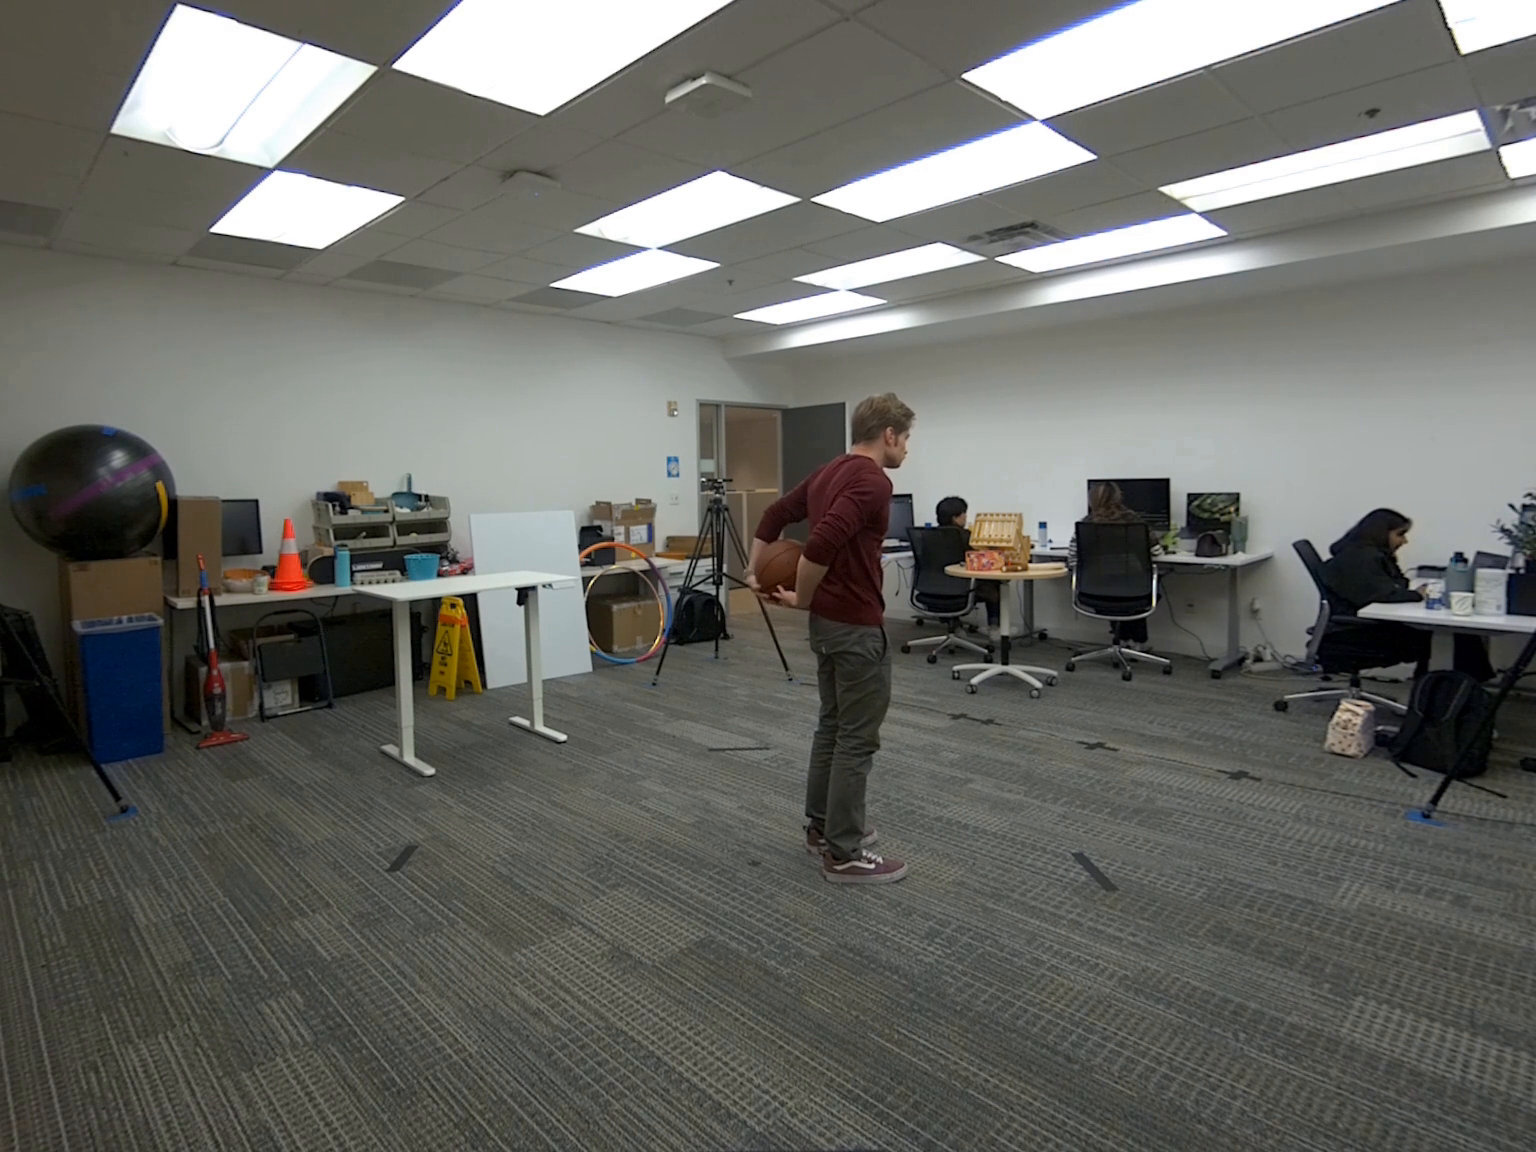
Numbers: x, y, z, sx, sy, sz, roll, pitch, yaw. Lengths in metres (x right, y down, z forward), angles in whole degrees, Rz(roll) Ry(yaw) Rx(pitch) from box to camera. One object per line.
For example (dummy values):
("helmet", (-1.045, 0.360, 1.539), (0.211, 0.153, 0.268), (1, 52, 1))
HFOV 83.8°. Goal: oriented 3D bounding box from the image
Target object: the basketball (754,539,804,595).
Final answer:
("basketball", (0.069, -0.018, 3.157), (0.236, 0.235, 0.237), (-1, 5, -2))
